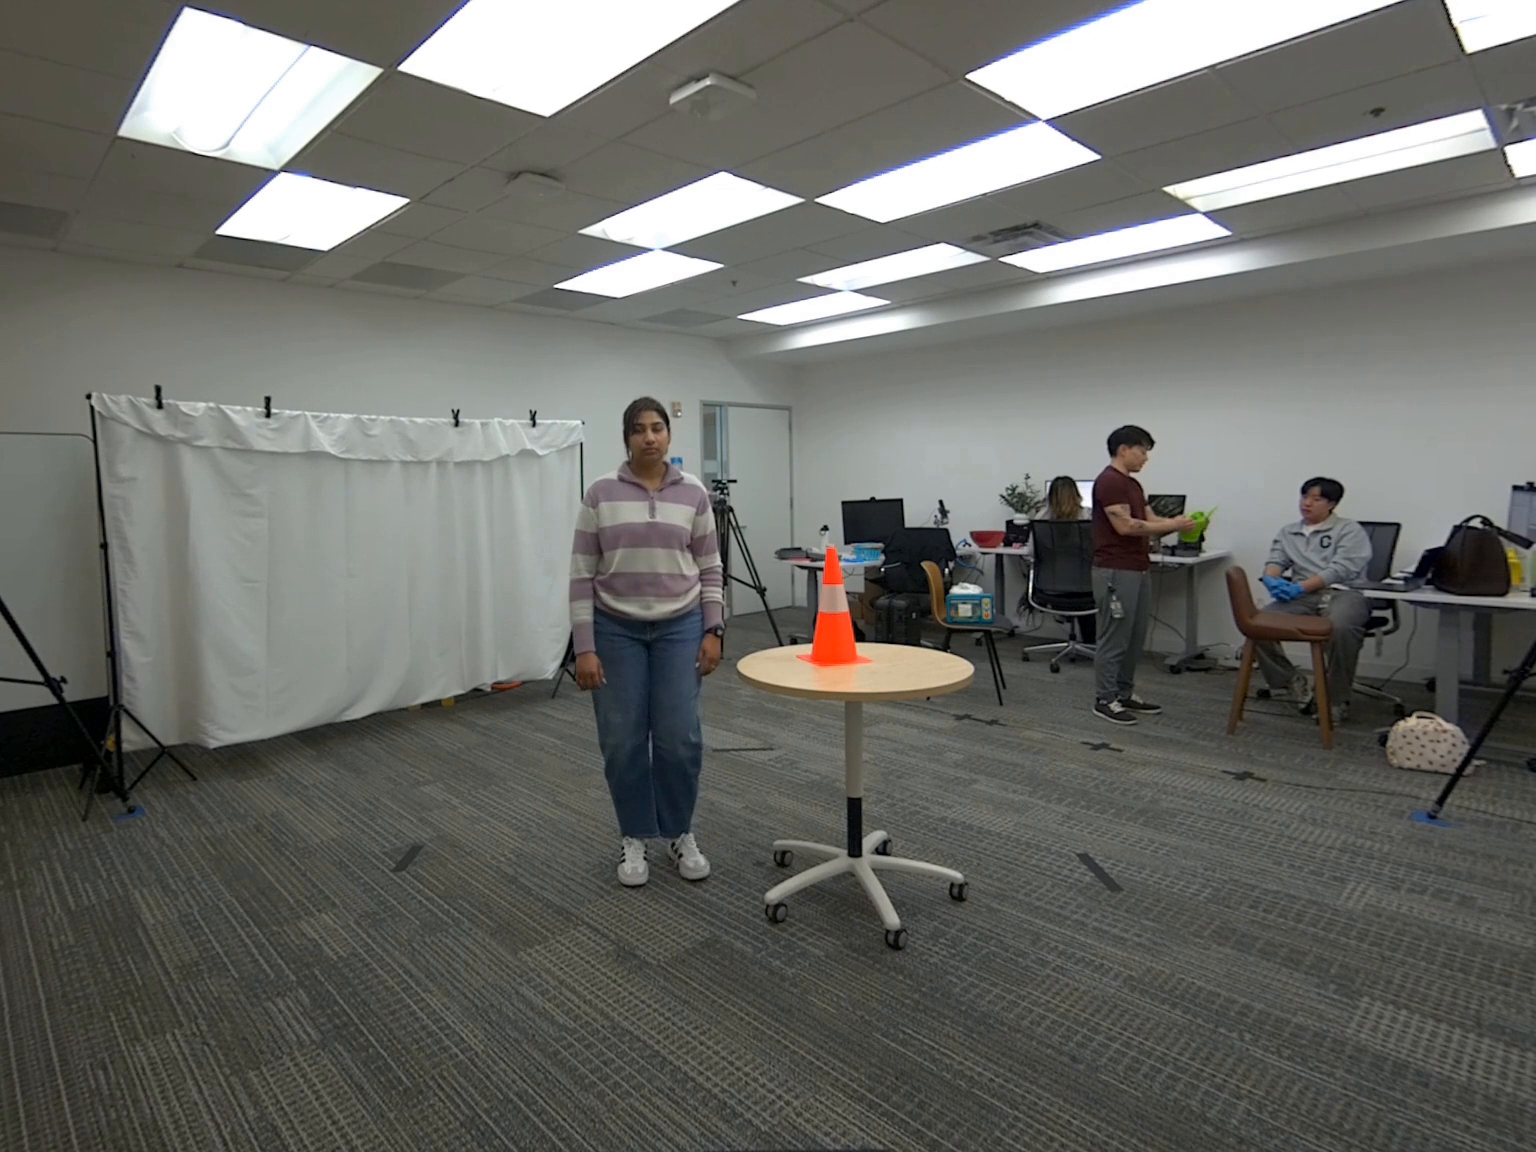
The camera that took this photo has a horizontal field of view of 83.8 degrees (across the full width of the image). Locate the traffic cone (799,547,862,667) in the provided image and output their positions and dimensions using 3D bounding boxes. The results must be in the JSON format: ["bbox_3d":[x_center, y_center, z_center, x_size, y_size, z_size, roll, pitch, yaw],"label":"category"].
[{"bbox_3d":[0.221,0.095,2.882,0.201,0.382,0.208,-3,6,-23],"label":"traffic cone"}]
